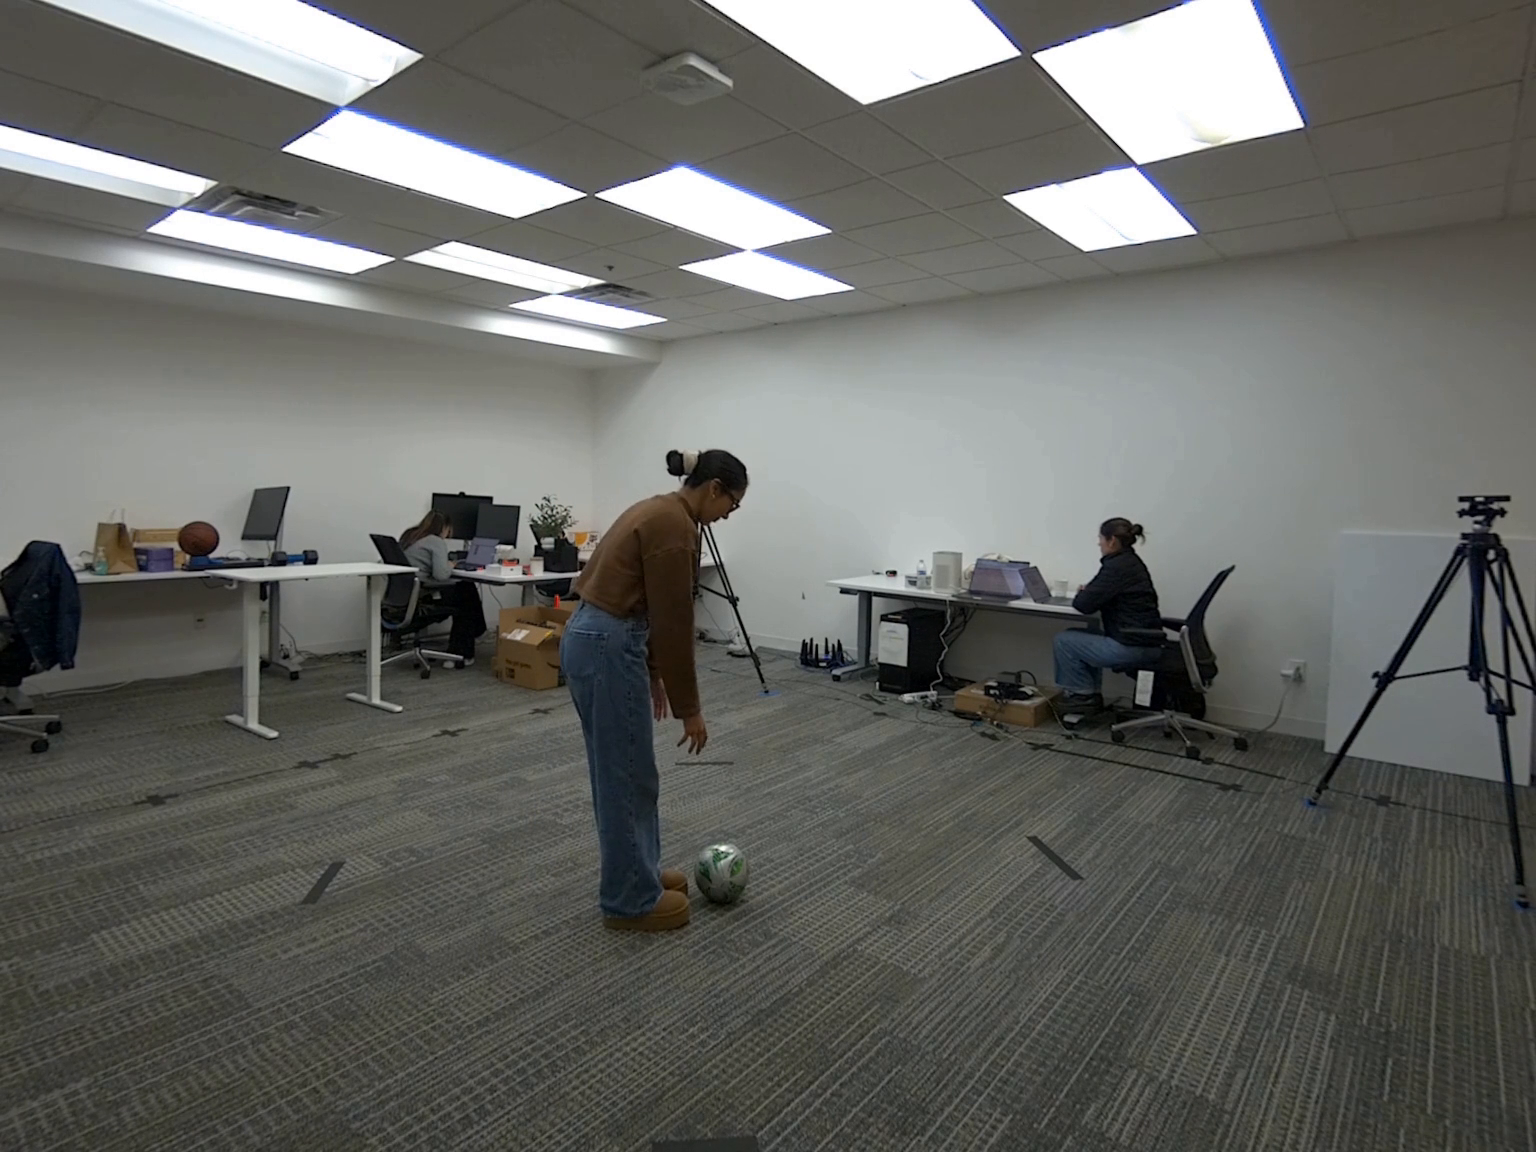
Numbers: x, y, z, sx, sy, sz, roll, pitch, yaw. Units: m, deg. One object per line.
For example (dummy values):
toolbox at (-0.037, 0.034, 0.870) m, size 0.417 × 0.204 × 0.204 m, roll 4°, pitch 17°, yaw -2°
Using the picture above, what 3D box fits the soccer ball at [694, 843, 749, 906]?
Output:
soccer ball at (-0.166, 0.992, 2.870) m, size 0.187 × 0.187 × 0.188 m, roll 1°, pitch 4°, yaw -2°
